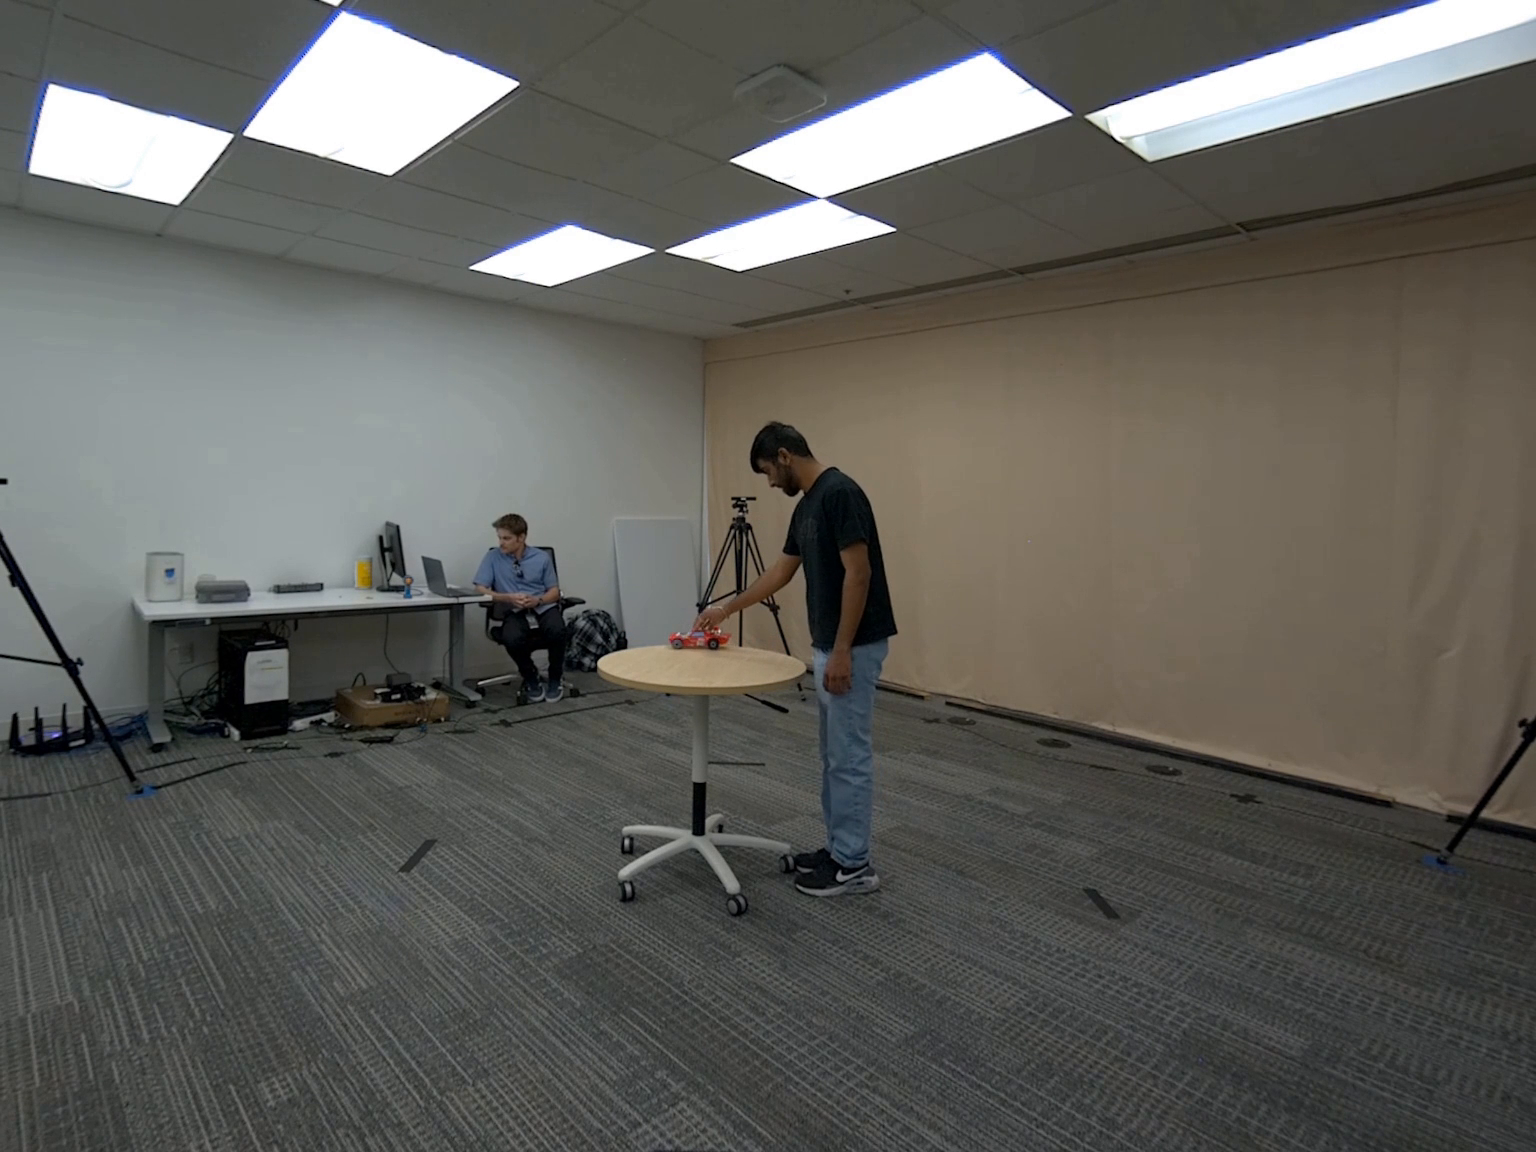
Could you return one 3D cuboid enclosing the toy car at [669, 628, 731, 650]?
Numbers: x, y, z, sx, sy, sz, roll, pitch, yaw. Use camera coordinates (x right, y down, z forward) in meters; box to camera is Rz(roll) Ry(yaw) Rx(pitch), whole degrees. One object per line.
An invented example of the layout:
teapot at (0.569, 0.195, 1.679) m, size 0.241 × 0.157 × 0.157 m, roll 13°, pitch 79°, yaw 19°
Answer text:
toy car at (-0.283, 0.259, 3.418) m, size 0.254 × 0.083 × 0.131 m, roll -10°, pitch 6°, yaw -3°
